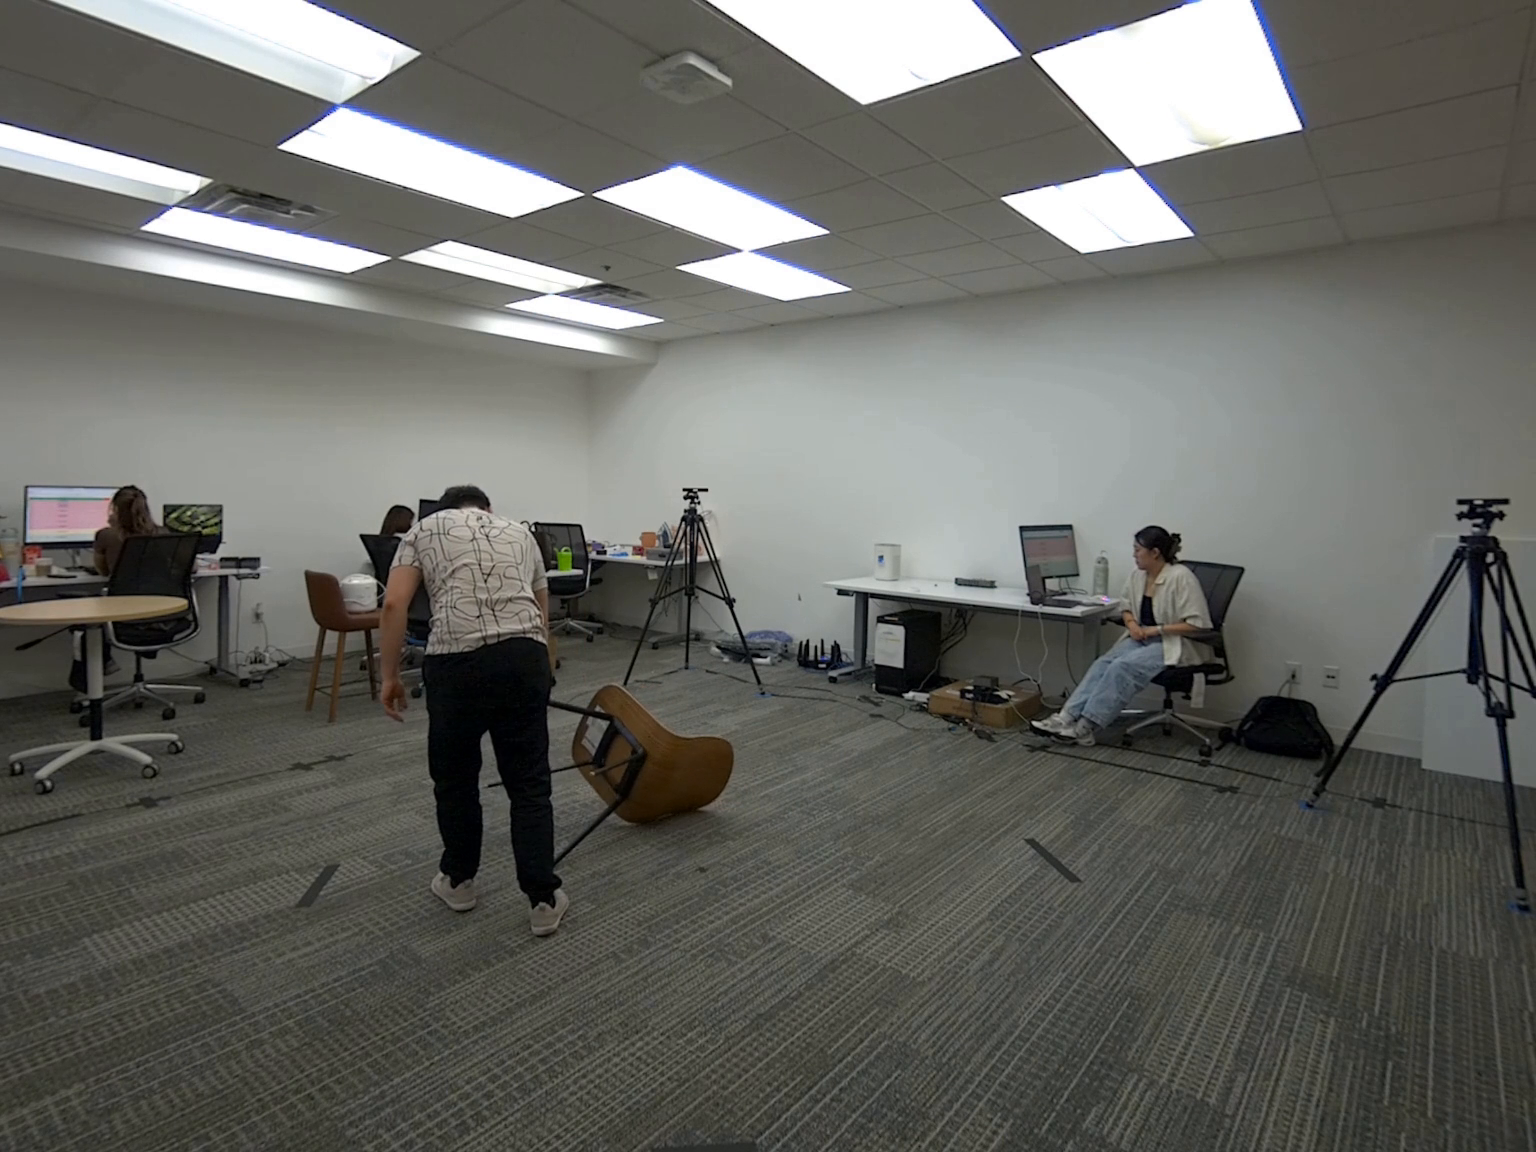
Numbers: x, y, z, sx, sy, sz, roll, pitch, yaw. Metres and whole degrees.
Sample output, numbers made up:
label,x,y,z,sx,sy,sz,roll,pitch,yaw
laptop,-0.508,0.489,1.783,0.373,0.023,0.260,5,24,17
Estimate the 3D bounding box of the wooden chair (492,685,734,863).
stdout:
label,x,y,z,sx,sy,sz,roll,pitch,yaw
wooden chair,-0.626,0.744,3.463,0.545,0.474,0.849,39,23,34
